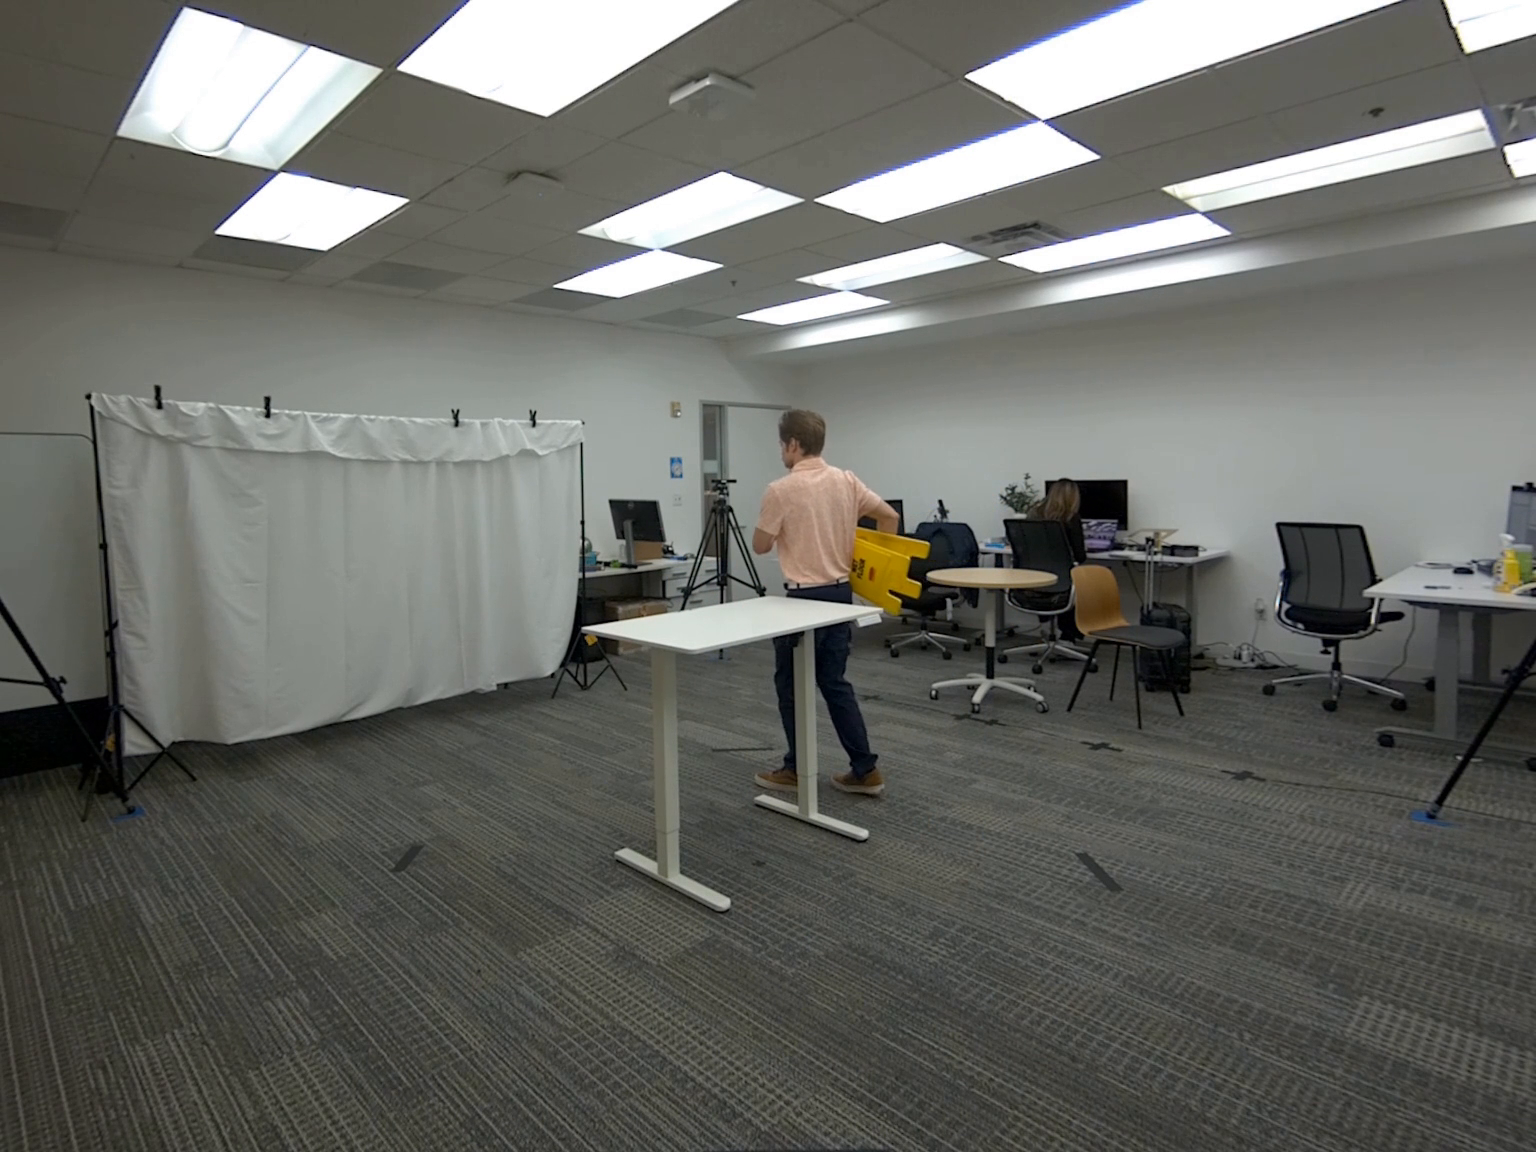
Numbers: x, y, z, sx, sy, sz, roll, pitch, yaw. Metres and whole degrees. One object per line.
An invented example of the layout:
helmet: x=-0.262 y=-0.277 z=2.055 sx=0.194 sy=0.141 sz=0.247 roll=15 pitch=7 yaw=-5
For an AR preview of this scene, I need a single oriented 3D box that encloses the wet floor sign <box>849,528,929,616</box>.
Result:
wet floor sign: x=0.373 y=-0.087 z=3.922 sx=0.667 sy=0.277 sz=0.285 roll=22 pitch=28 yaw=30
